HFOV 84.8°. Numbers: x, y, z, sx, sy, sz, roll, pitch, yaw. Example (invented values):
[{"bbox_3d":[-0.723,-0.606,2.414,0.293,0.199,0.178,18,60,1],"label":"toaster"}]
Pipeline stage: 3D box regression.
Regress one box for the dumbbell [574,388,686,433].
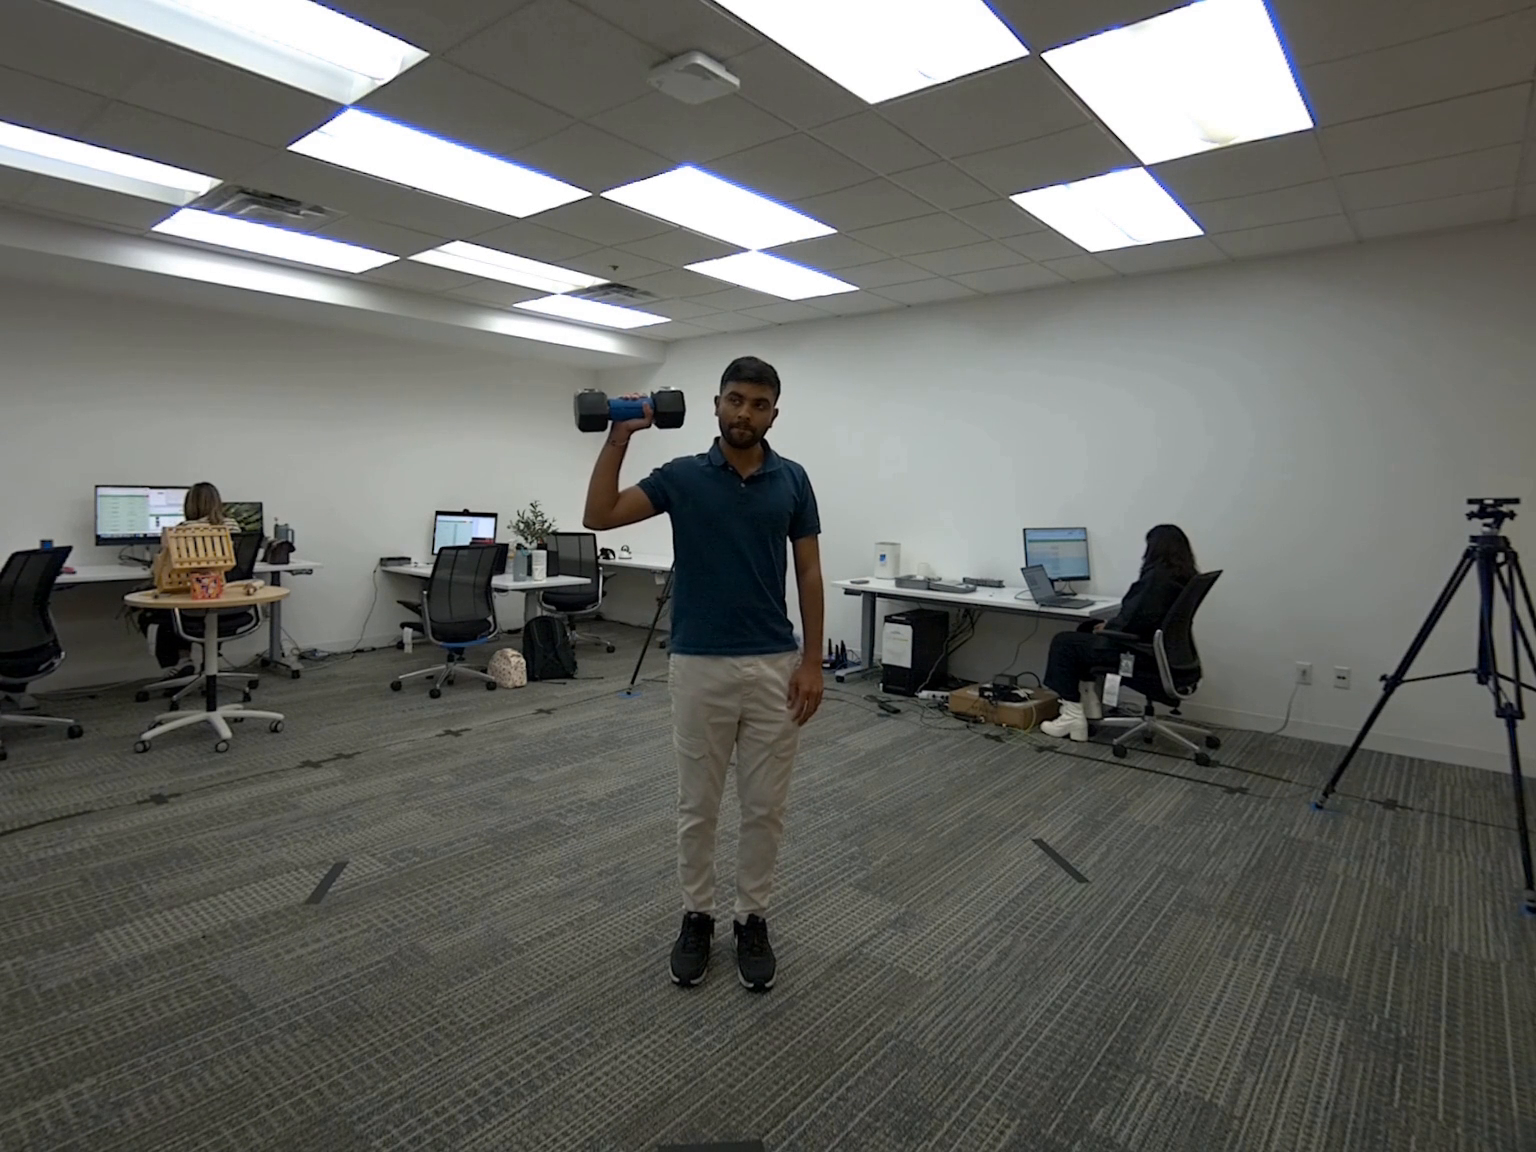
[{"bbox_3d":[-0.378,-0.473,2.319,0.289,0.107,0.127,-5,20,-14],"label":"dumbbell"}]
